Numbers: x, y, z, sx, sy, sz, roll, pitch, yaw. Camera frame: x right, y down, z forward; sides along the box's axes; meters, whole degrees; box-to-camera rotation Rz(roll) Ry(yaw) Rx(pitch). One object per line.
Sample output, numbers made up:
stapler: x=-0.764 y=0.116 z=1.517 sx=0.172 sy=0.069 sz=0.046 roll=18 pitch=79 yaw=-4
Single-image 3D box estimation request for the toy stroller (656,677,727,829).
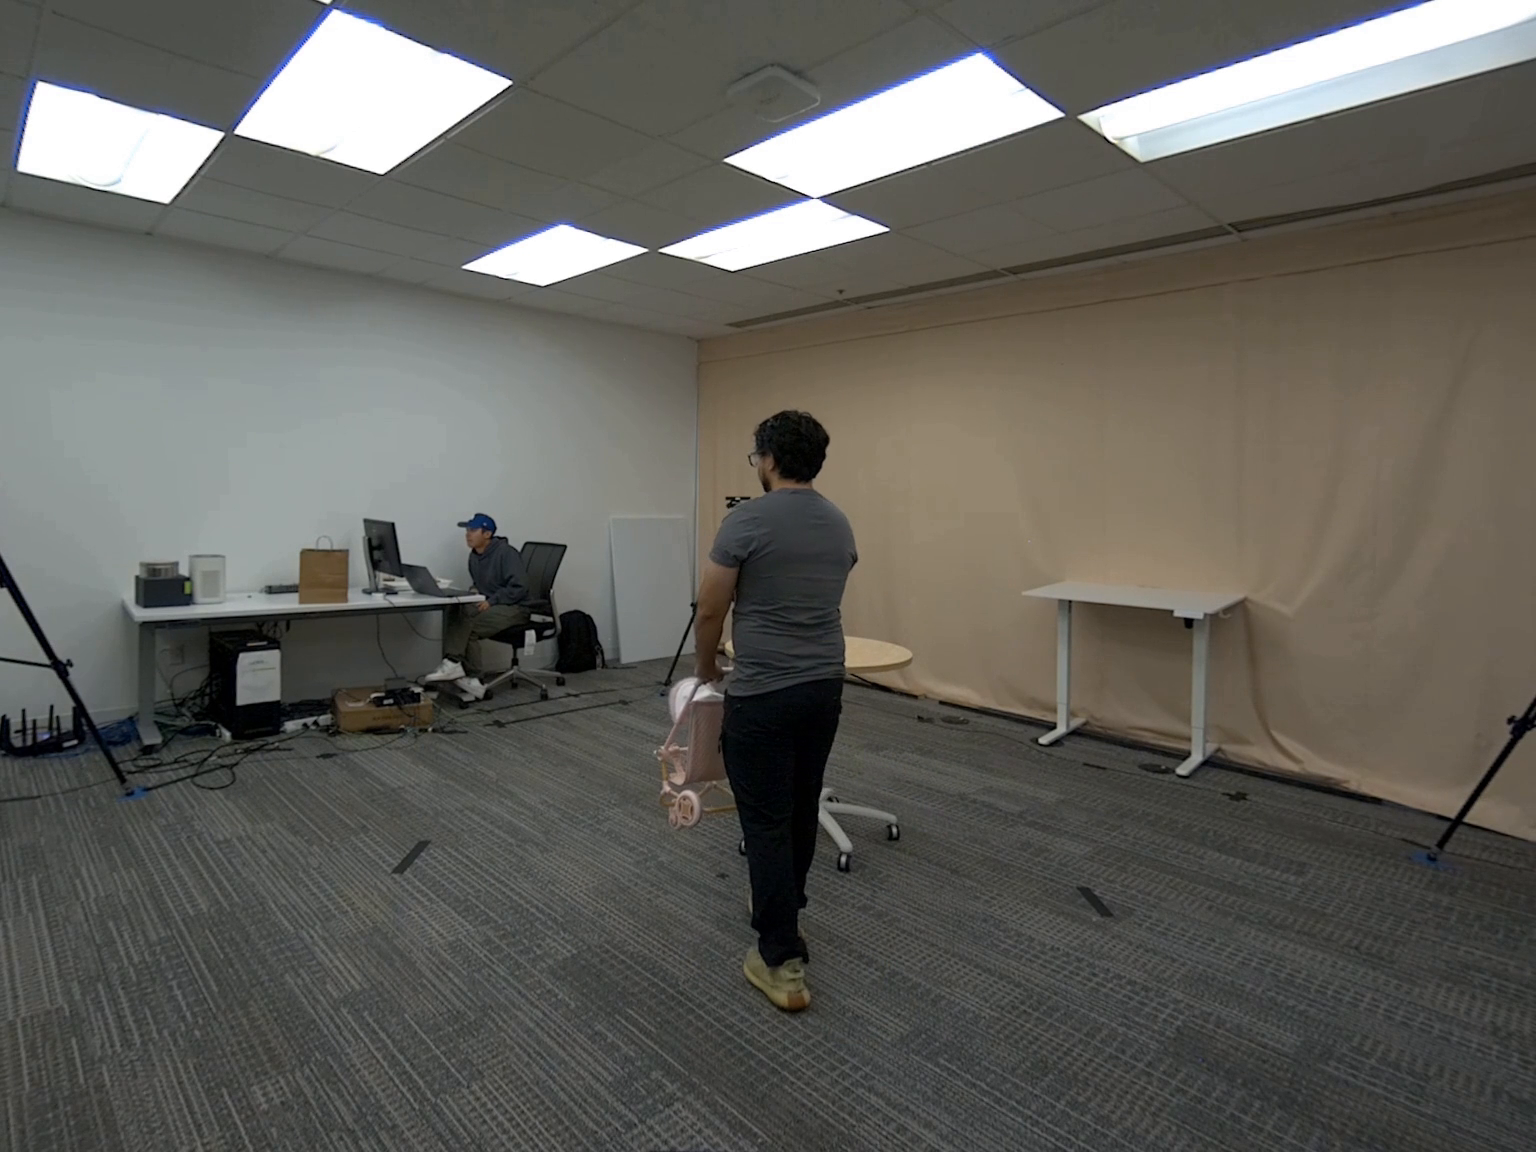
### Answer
toy stroller: x=-0.221 y=0.576 z=2.756 sx=0.274 sy=0.538 sz=0.347 roll=6 pitch=-9 yaw=-36
